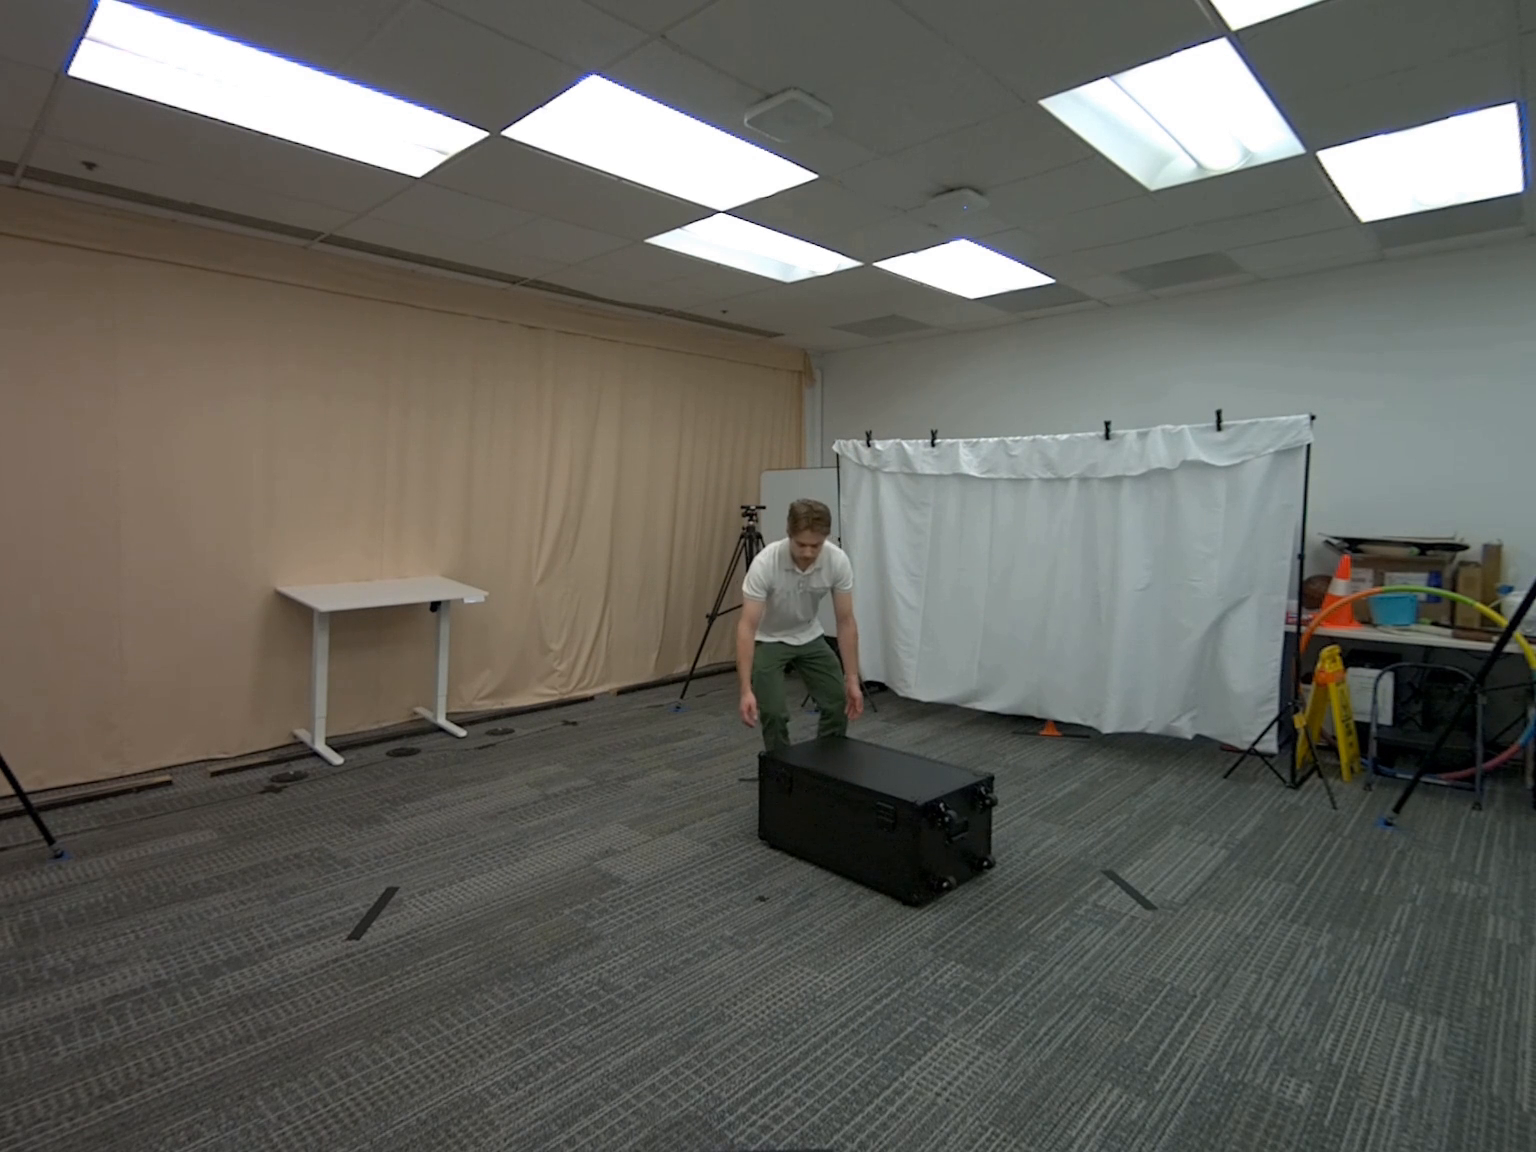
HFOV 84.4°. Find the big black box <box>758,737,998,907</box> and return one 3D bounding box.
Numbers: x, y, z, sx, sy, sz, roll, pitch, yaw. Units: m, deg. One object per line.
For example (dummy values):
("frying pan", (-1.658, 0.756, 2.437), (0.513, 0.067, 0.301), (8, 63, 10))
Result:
("big black box", (0.430, 0.927, 3.292), (0.505, 0.395, 0.890), (-4, 5, -44))
